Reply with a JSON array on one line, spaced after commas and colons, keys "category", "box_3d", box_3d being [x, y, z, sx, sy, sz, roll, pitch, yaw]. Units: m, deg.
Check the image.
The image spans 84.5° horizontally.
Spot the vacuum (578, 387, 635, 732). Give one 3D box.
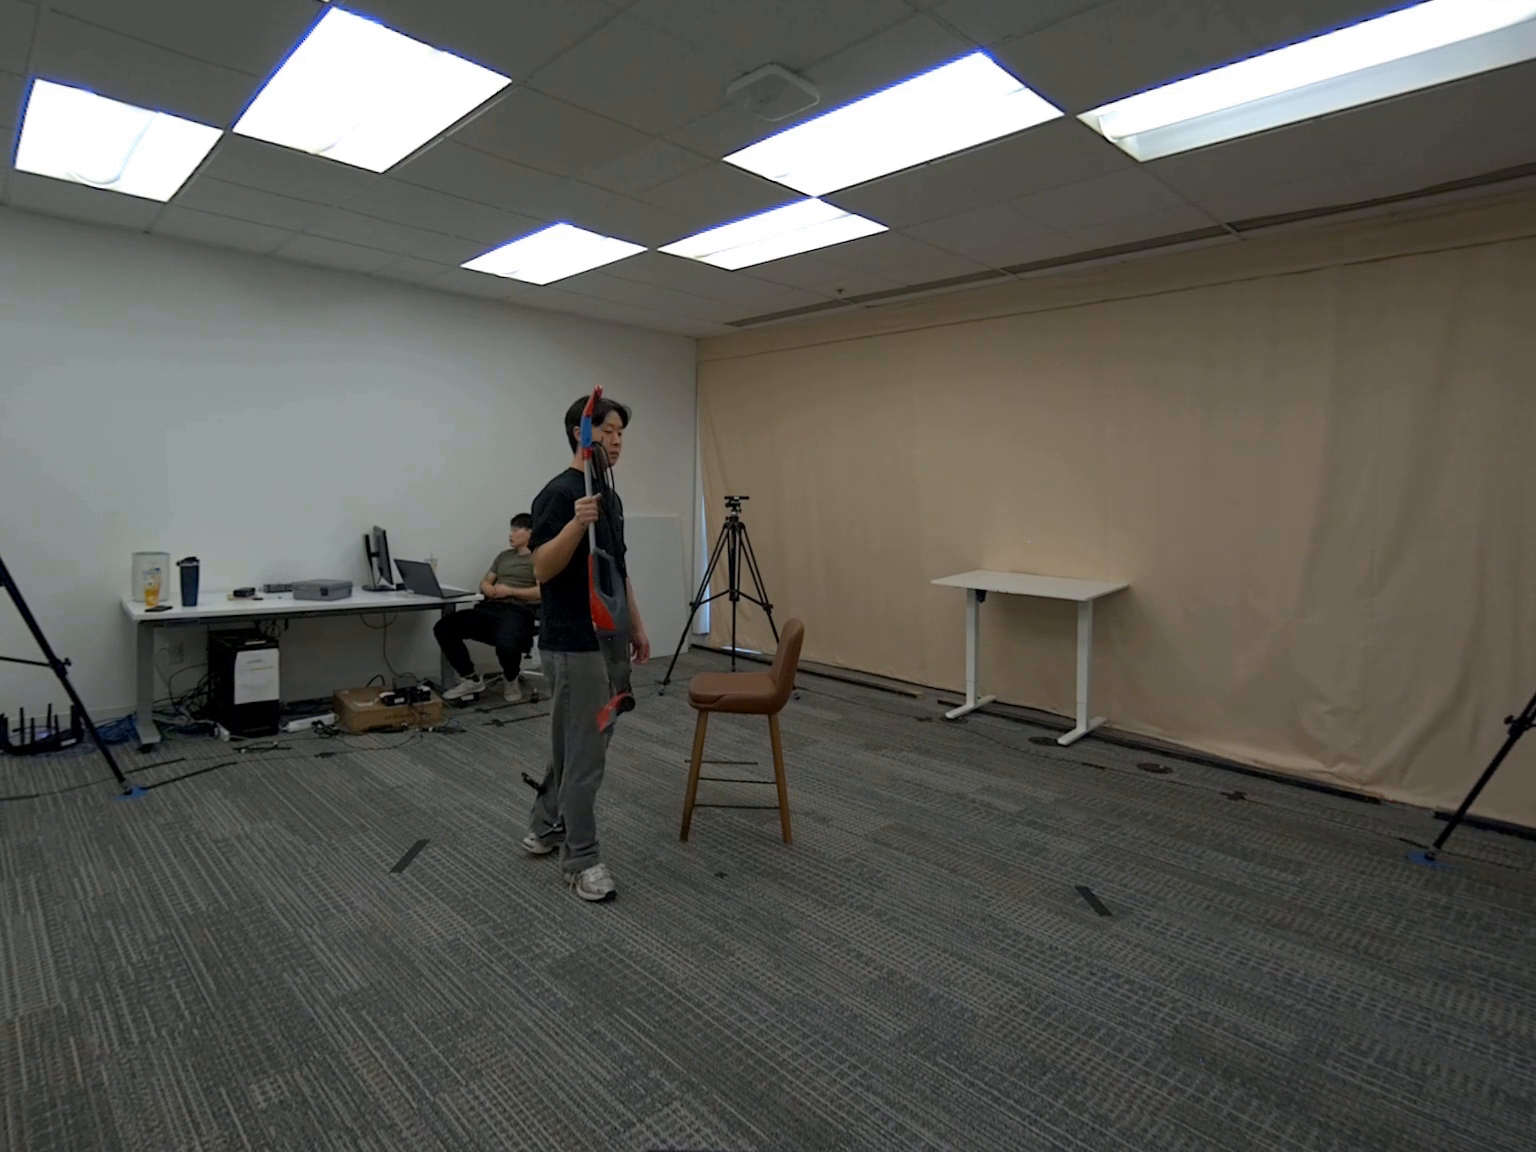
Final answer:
[{"category": "vacuum", "box_3d": [-0.523, -0.083, 2.713, 0.142, 1.049, 0.256, -2, 1, -19]}]
